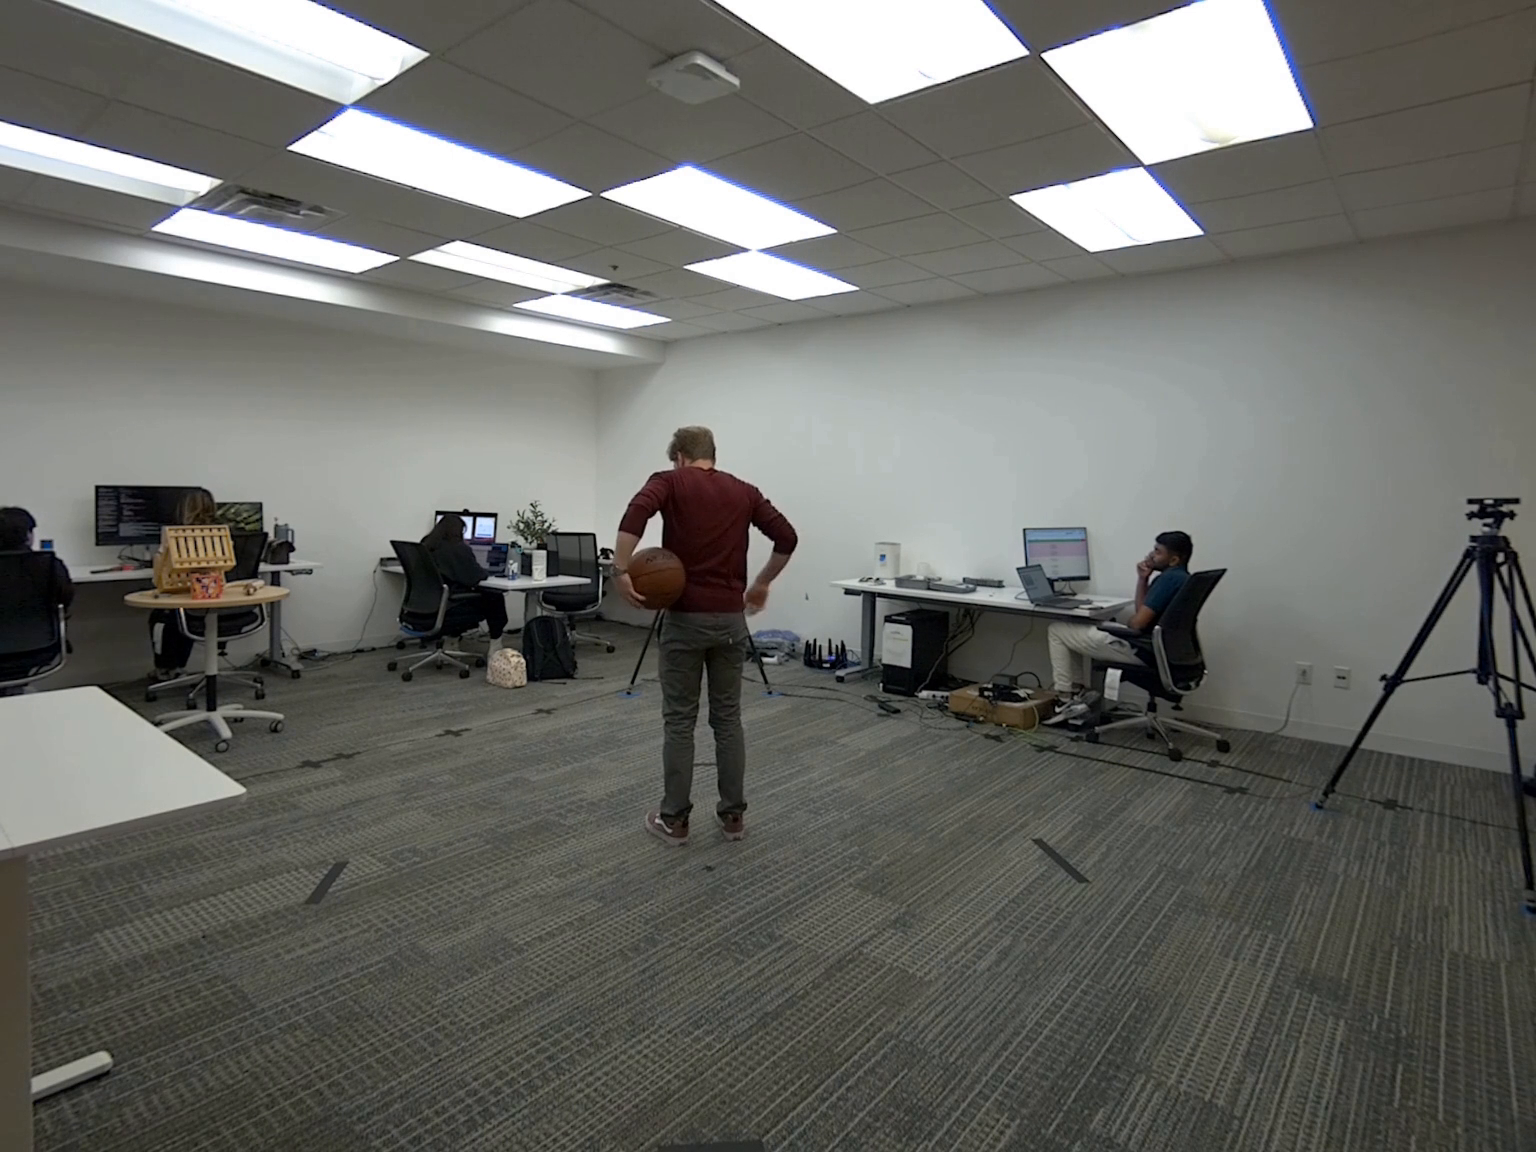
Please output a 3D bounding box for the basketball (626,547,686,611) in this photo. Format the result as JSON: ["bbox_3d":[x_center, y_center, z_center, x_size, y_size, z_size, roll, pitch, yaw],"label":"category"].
[{"bbox_3d":[-0.440,0.007,3.226,0.235,0.235,0.237,1,4,-2],"label":"basketball"}]
